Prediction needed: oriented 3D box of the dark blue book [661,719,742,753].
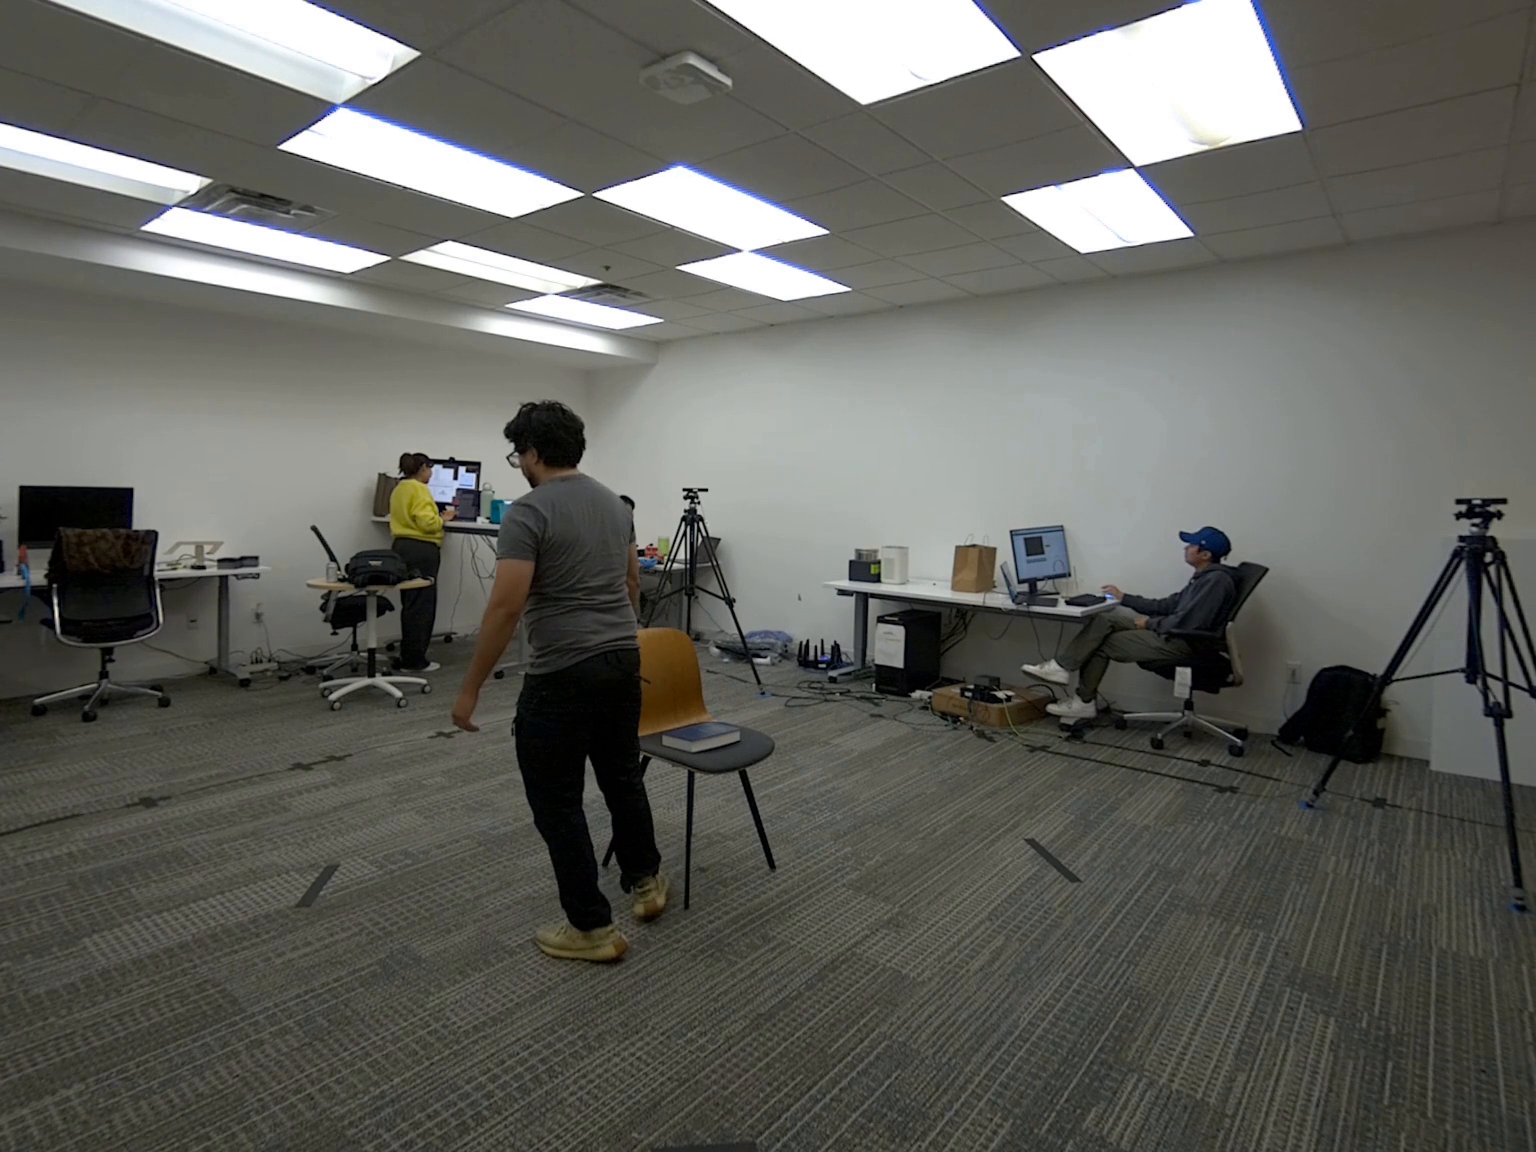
[{"bbox_3d":[-0.240,0.571,3.026,0.169,0.045,0.238,2,5,42],"label":"dark blue book"}]
